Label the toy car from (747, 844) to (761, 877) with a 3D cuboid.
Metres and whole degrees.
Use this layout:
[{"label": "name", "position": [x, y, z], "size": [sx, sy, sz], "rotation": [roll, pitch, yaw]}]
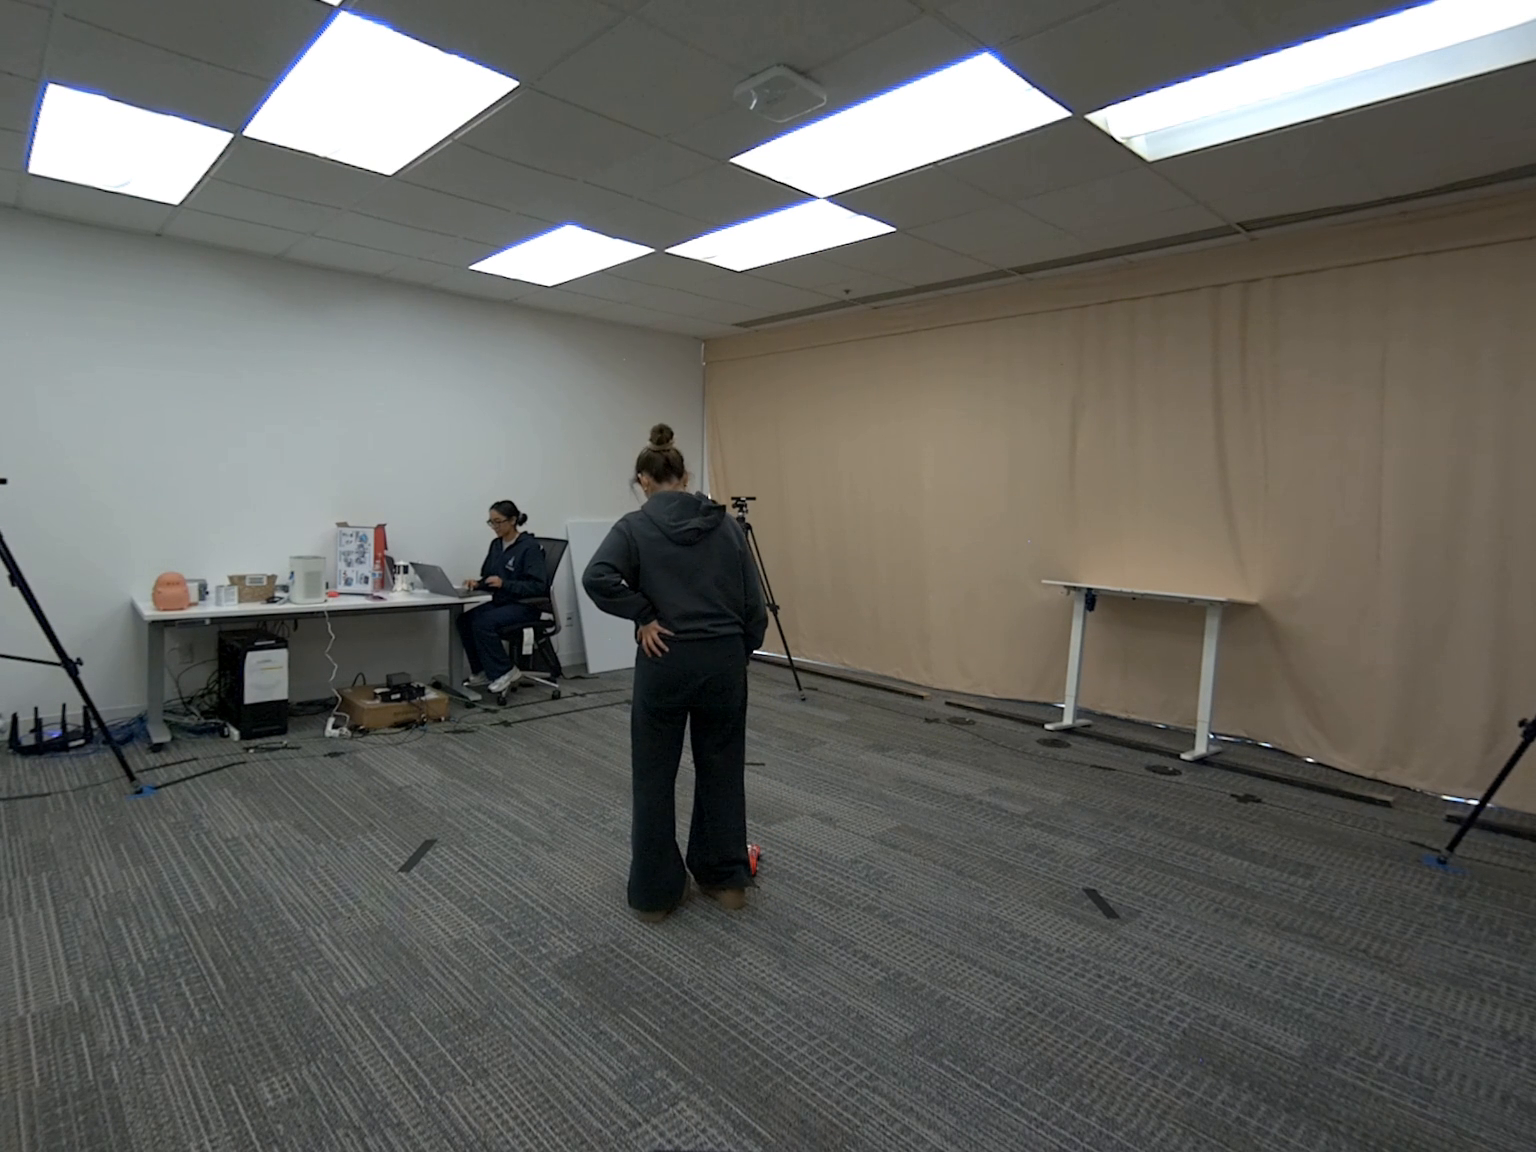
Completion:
[{"label": "toy car", "position": [-0.099, 1.074, 3.173], "size": [0.131, 0.084, 0.252], "rotation": [1, -7, 4]}]
